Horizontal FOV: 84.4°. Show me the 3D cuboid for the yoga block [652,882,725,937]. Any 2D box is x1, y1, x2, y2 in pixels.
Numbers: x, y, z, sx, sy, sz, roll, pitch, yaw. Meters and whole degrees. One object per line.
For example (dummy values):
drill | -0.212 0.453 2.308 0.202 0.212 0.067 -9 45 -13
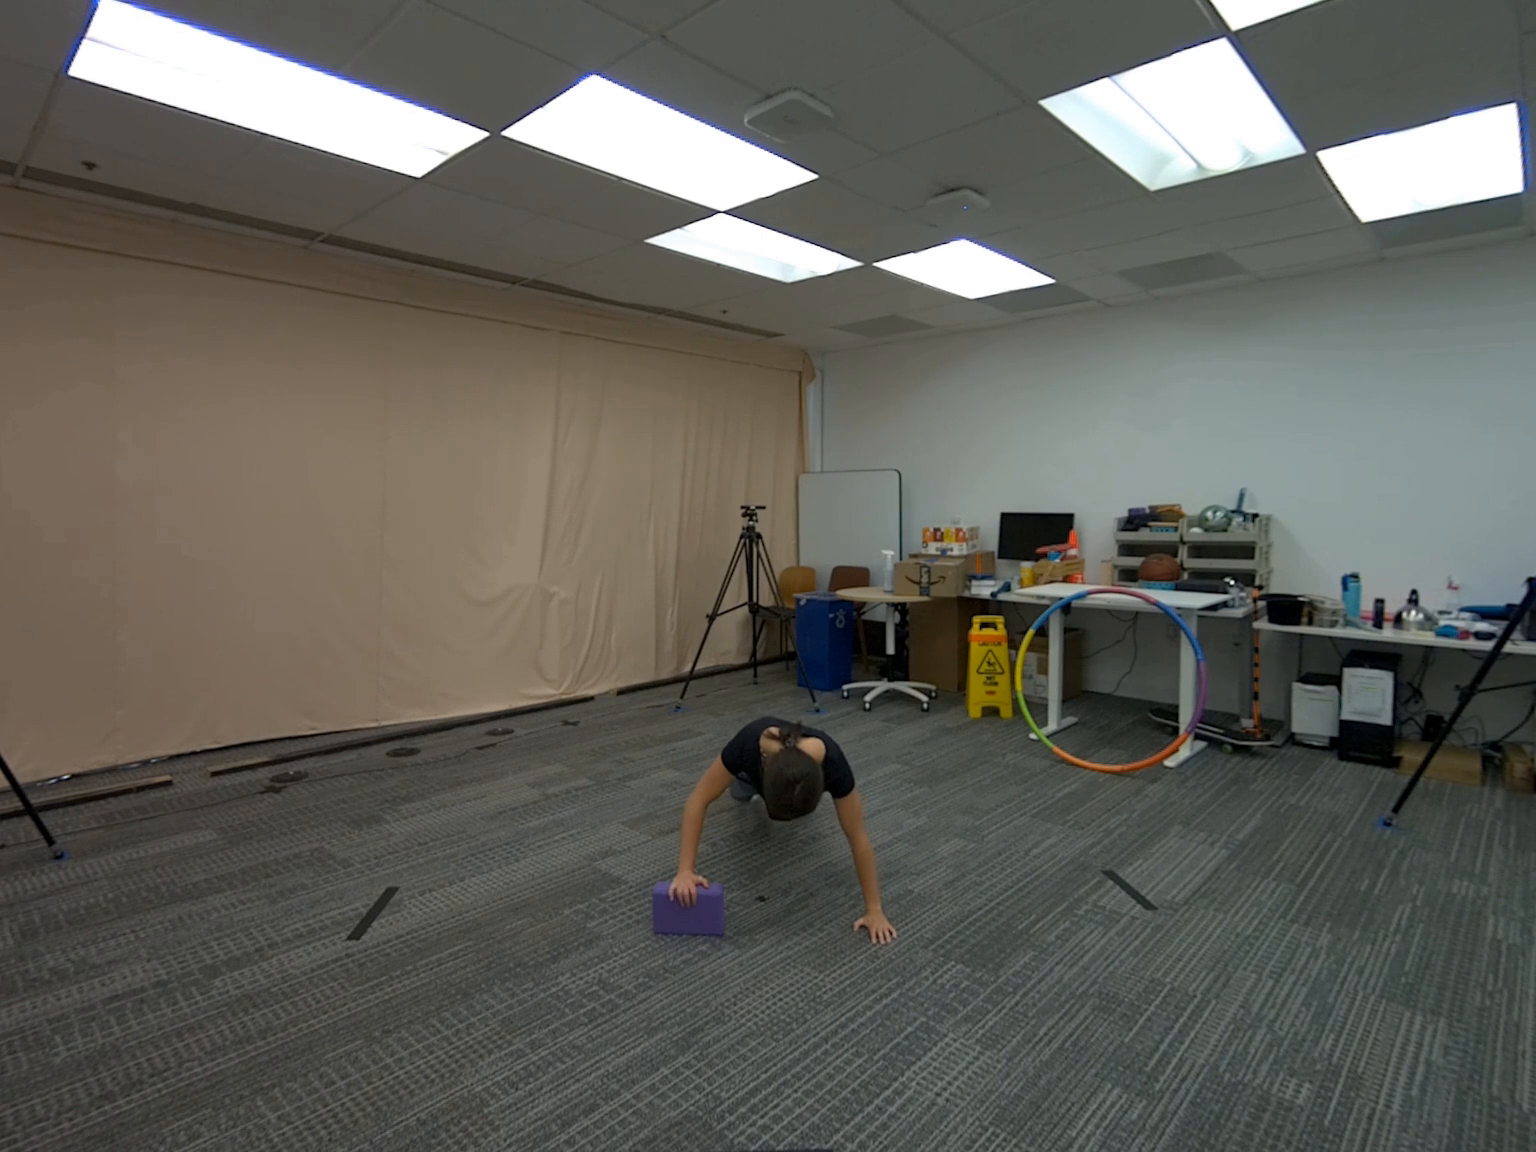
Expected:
yoga block | -0.254 1.095 2.765 0.230 0.149 0.076 1 2 5
